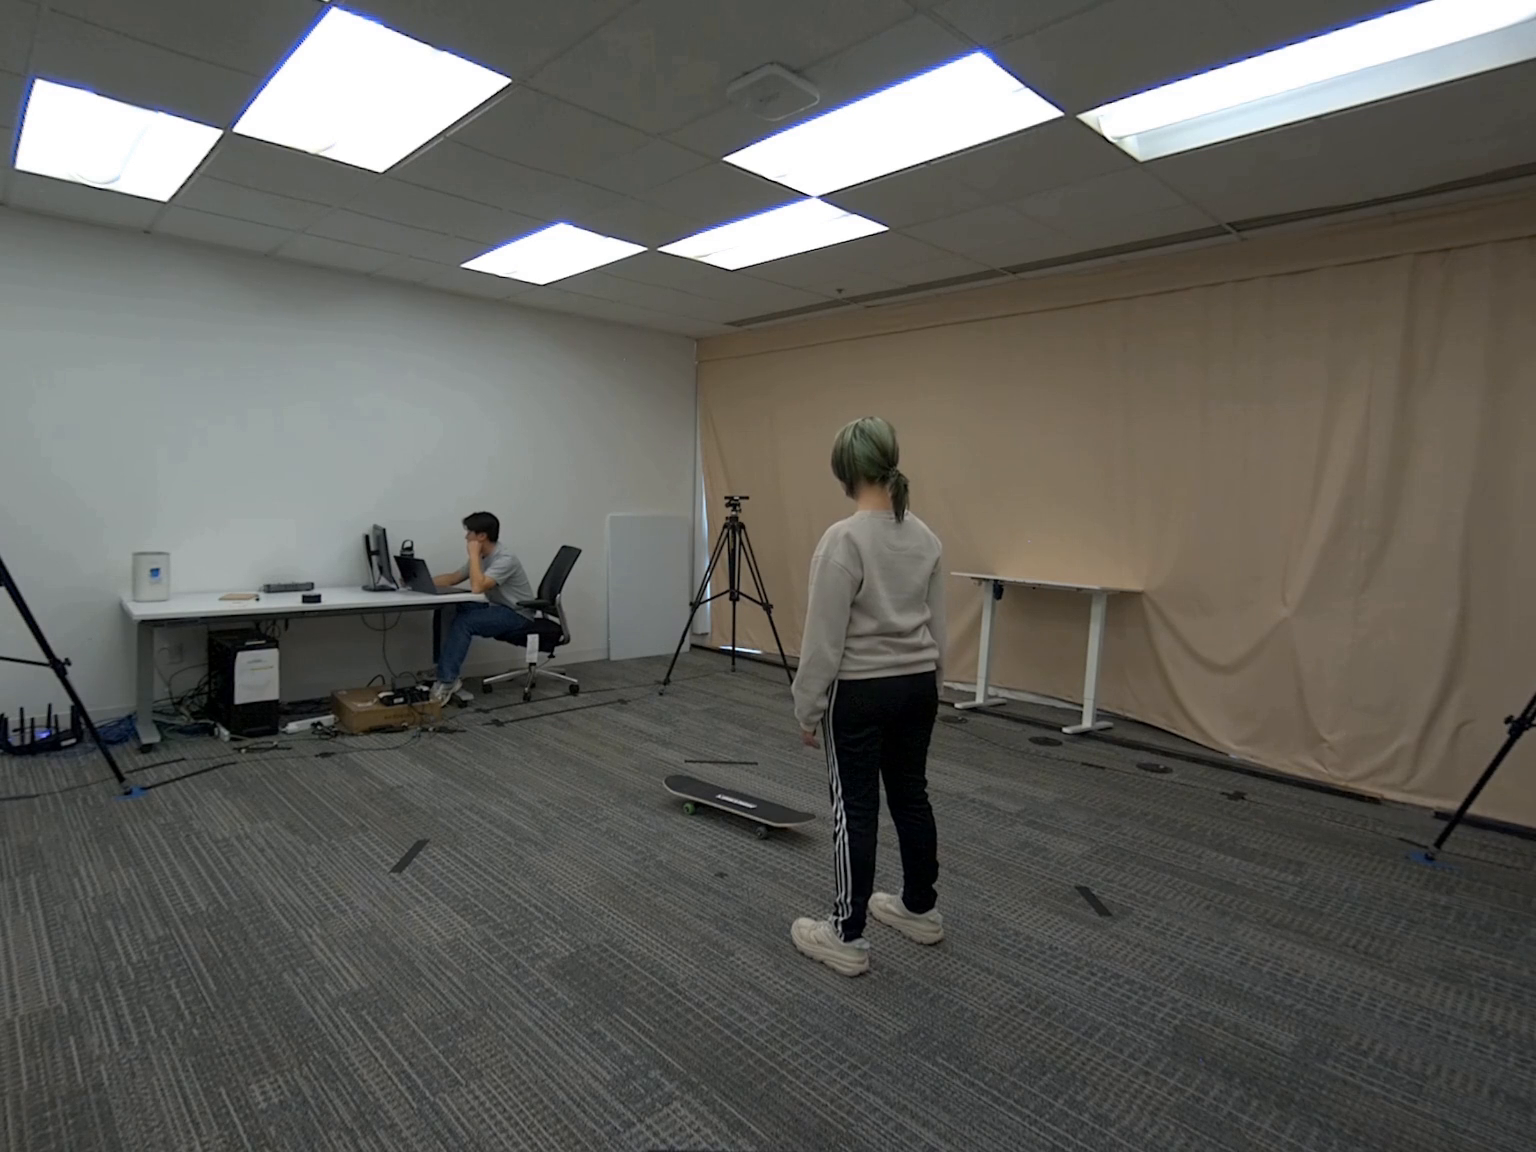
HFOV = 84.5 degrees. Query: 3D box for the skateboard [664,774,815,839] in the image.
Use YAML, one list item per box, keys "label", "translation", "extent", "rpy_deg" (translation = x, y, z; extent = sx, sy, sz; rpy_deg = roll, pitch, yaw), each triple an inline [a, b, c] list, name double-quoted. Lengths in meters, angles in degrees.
- label: "skateboard"
  translation: [-0.145, 1.003, 3.634]
  extent: [0.805, 0.110, 0.189]
  rpy_deg: [6, 6, 37]
